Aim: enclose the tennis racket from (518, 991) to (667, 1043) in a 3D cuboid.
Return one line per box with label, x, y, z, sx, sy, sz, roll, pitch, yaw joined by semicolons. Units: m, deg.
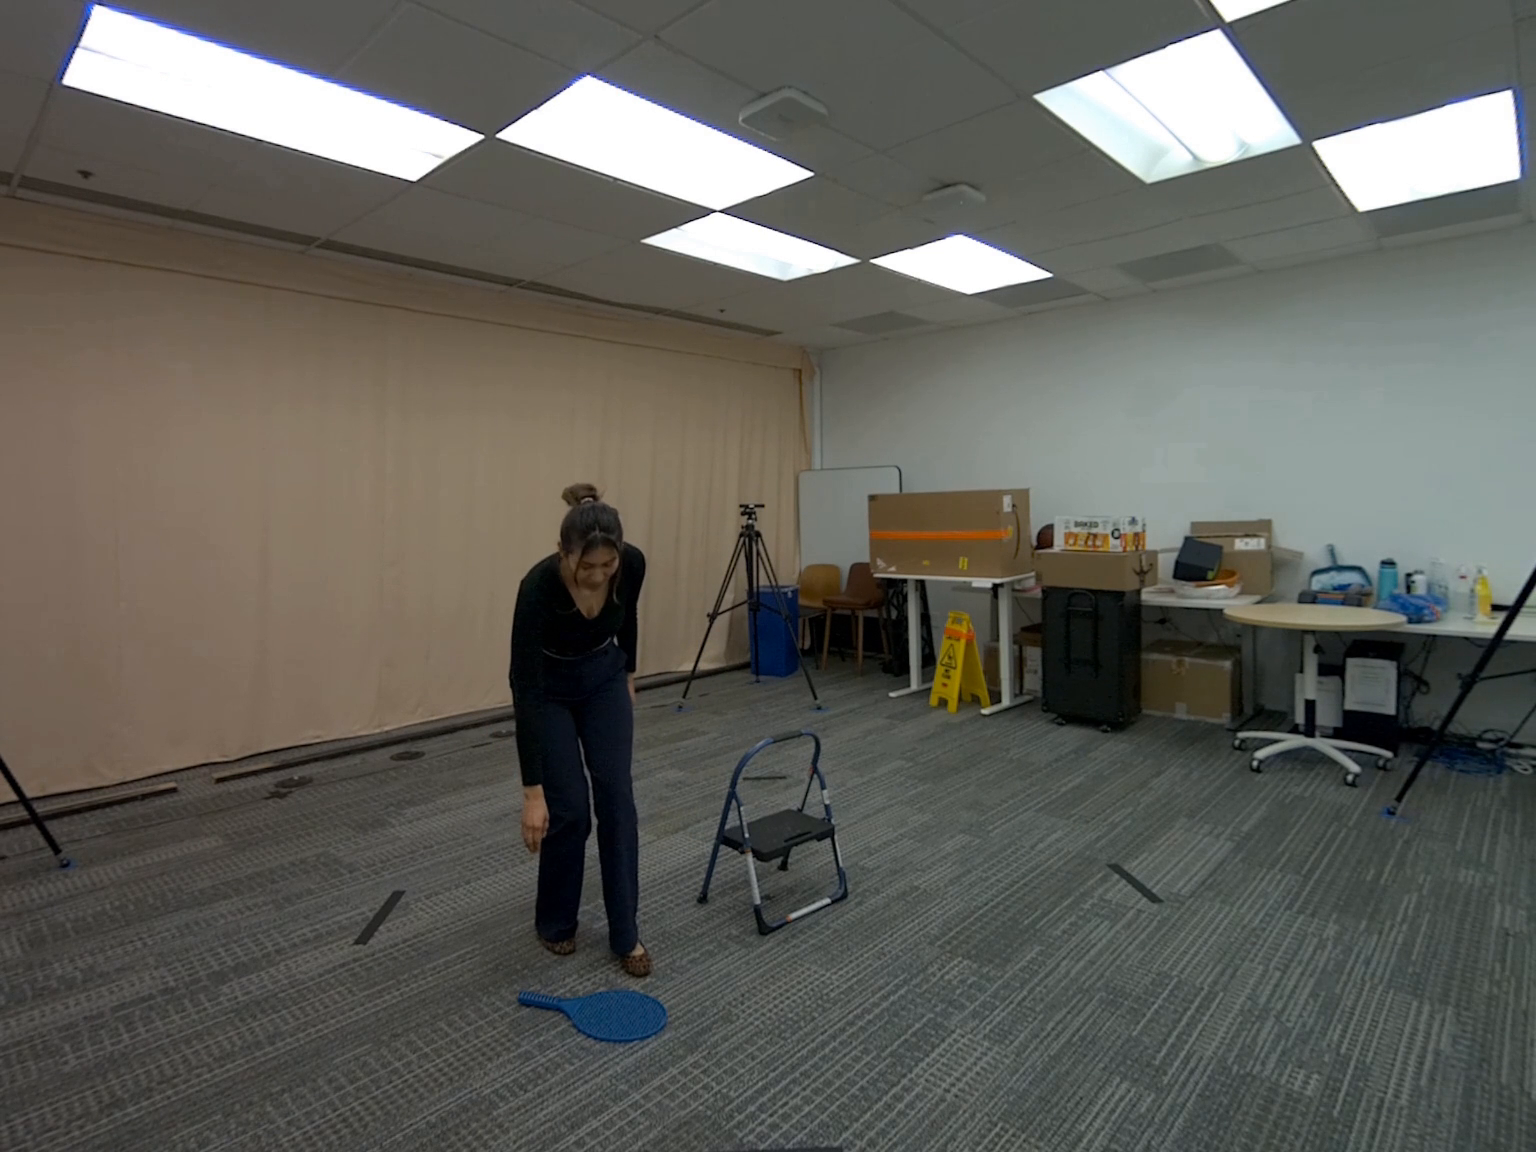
tennis racket;-0.482;1.196;2.314;0.439;0.031;0.211;1;6;13
